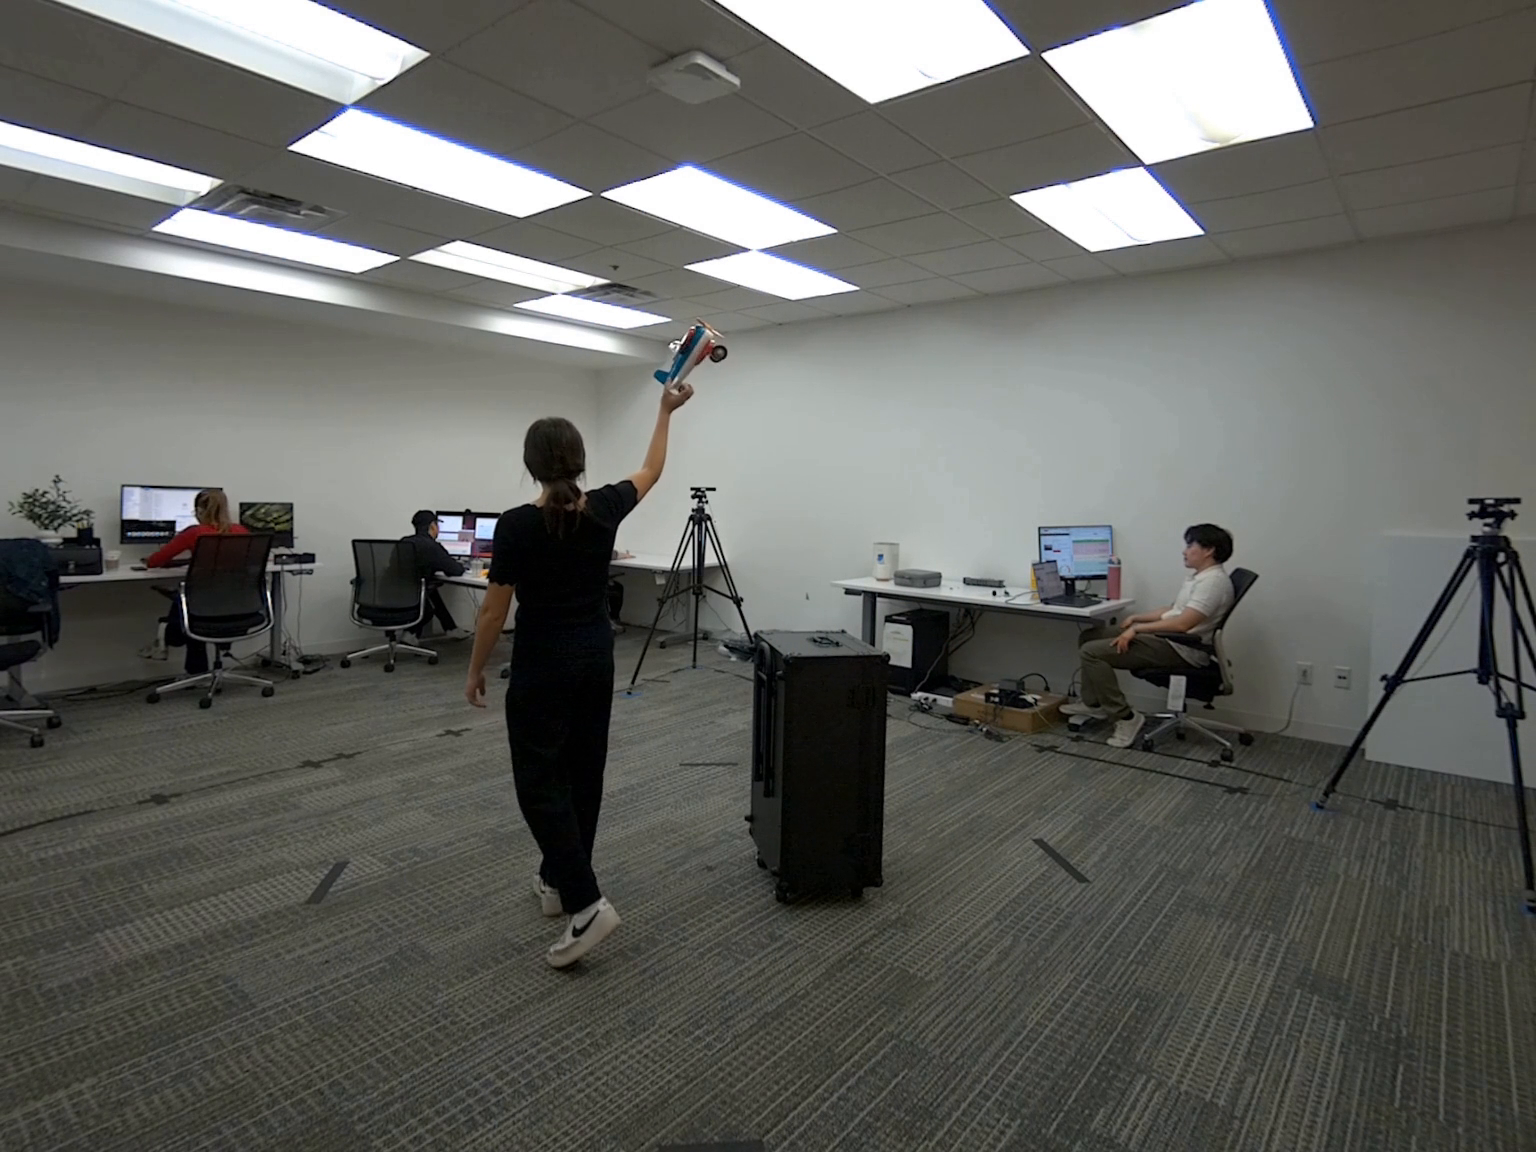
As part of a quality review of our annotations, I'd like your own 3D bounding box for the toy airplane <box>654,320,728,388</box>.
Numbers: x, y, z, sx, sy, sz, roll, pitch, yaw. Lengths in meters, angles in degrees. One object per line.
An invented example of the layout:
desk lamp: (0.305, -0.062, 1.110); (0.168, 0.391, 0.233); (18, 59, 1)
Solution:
toy airplane: (-0.271, -0.747, 2.920); (0.259, 0.154, 0.255); (-50, 15, -28)
